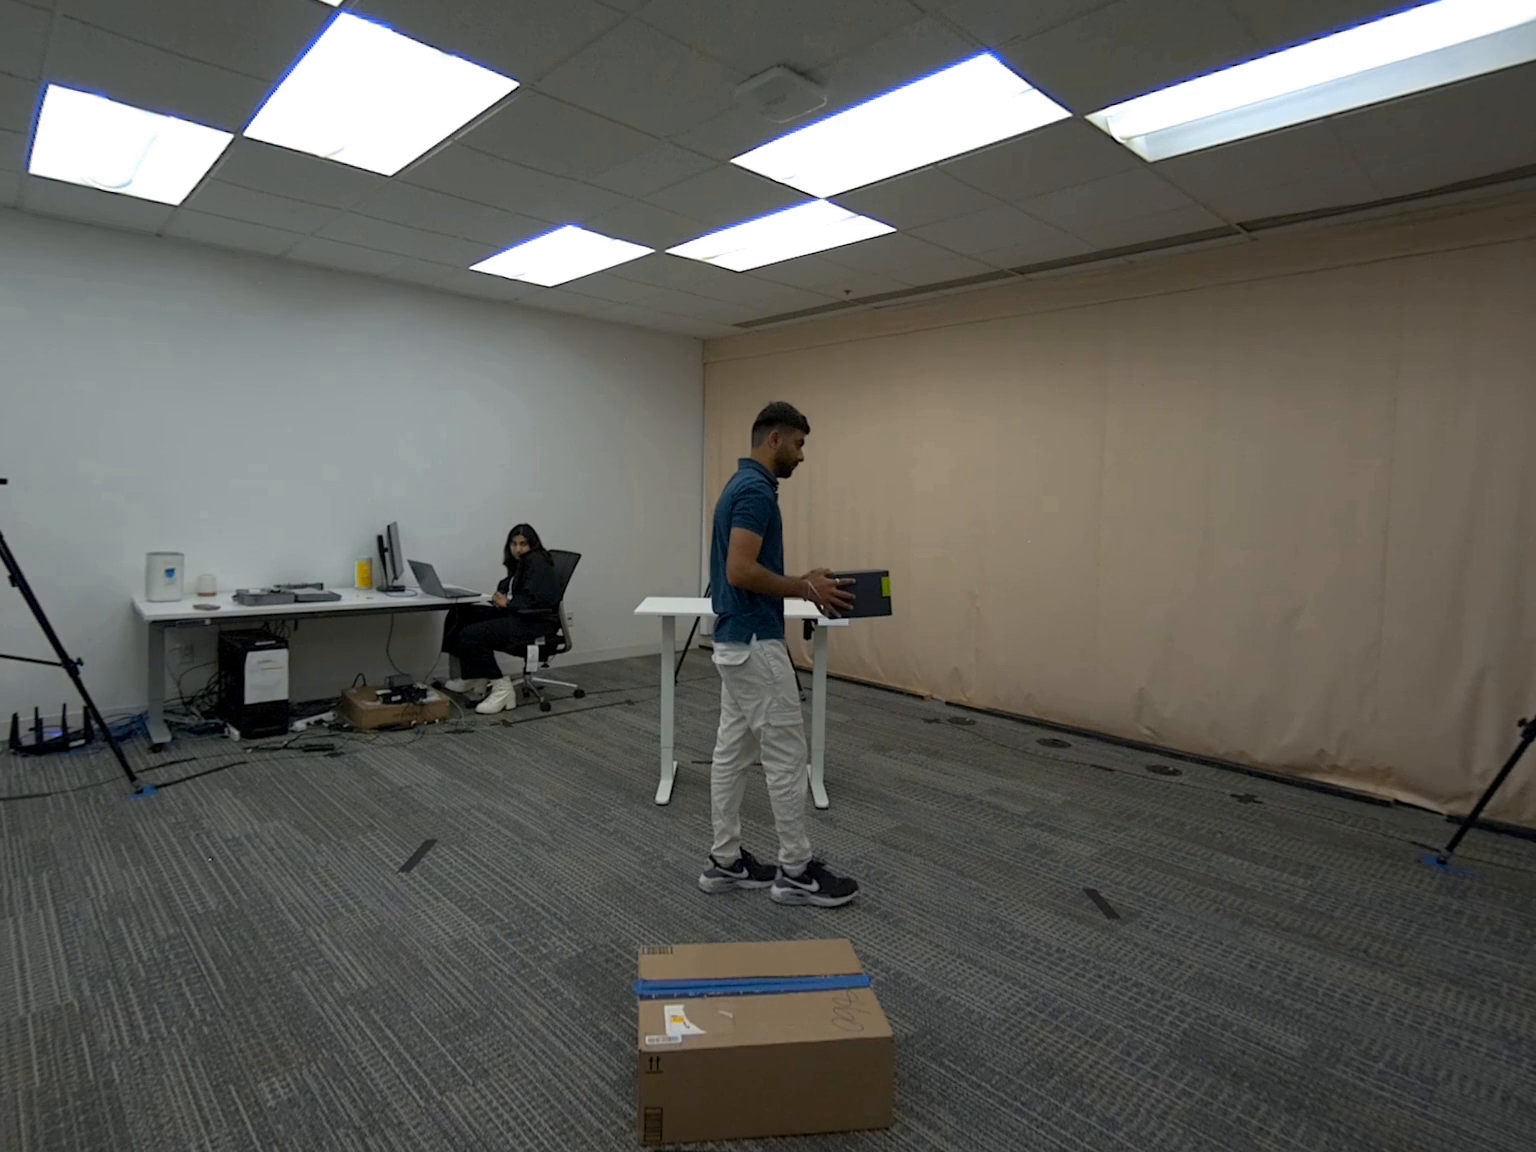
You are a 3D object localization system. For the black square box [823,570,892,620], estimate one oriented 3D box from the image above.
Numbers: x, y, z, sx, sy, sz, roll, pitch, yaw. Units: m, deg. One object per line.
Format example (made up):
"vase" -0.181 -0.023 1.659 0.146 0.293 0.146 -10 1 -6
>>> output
"black square box" 0.306 0.061 2.973 0.217 0.156 0.227 -1 1 2
